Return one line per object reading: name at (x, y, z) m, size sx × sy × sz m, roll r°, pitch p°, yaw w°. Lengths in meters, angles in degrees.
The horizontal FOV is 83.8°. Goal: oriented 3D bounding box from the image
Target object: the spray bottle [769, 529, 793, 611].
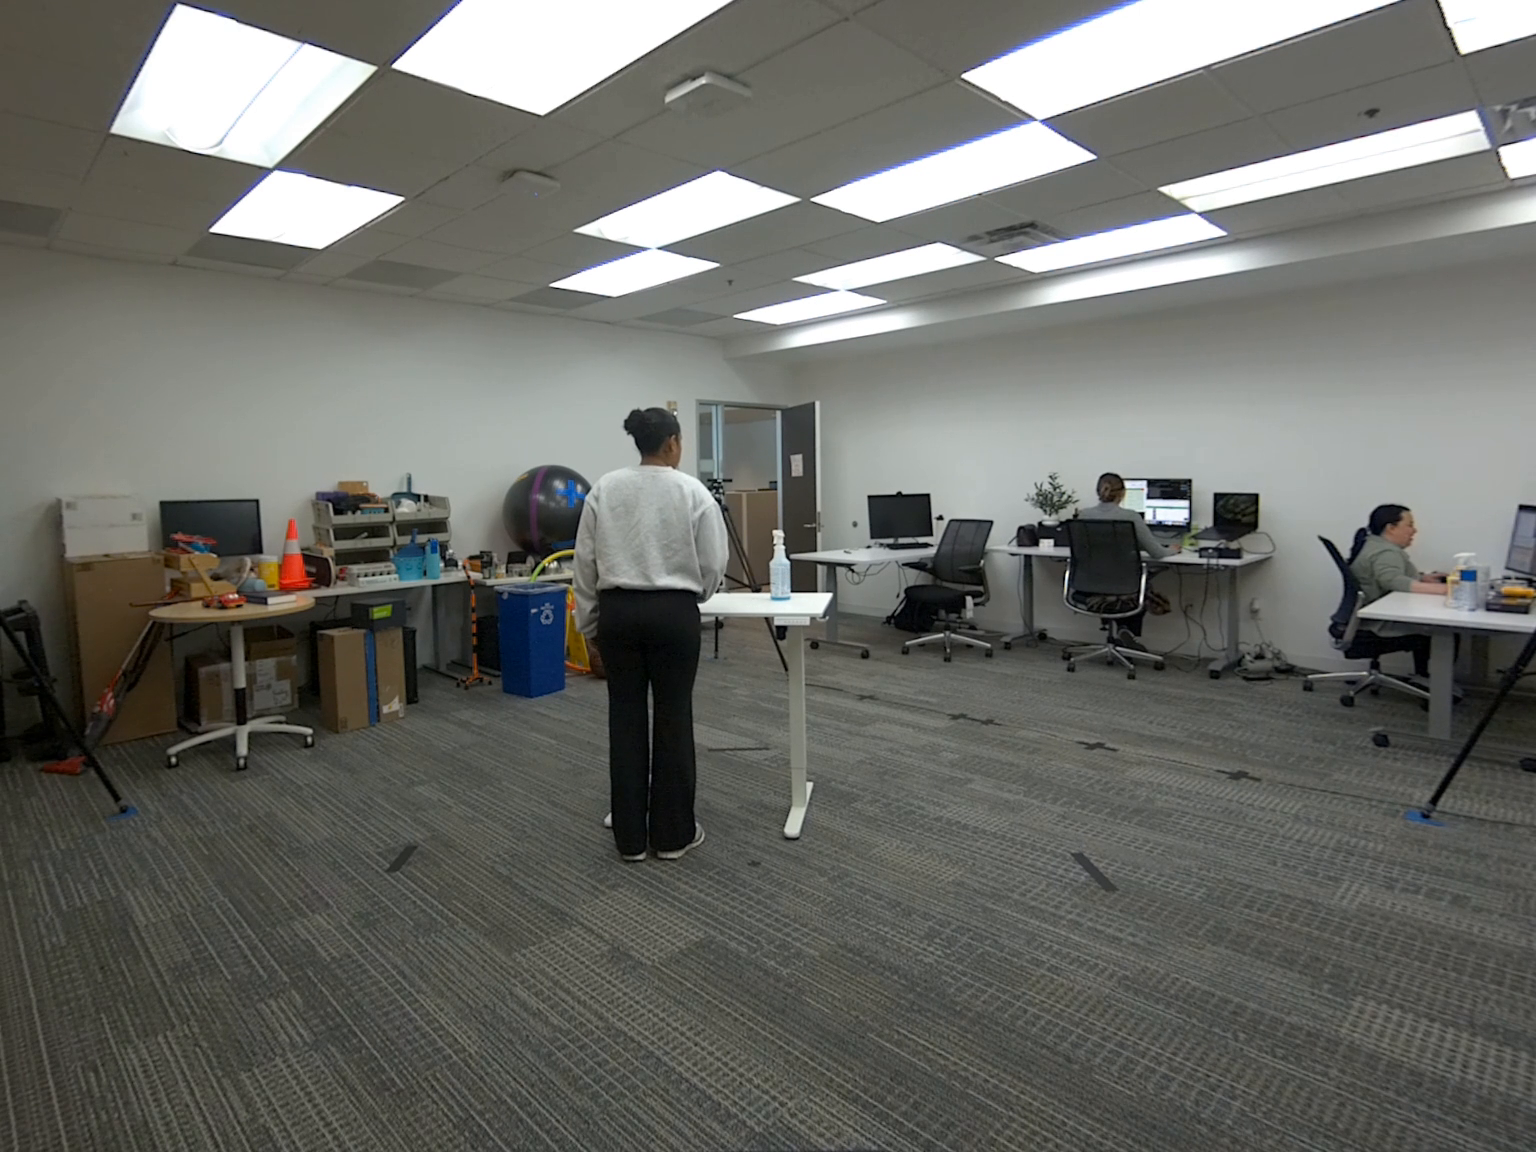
spray bottle at (0.048, -0.045, 3.634) m, size 0.088 × 0.296 × 0.089 m, roll -7°, pitch 5°, yaw -41°
